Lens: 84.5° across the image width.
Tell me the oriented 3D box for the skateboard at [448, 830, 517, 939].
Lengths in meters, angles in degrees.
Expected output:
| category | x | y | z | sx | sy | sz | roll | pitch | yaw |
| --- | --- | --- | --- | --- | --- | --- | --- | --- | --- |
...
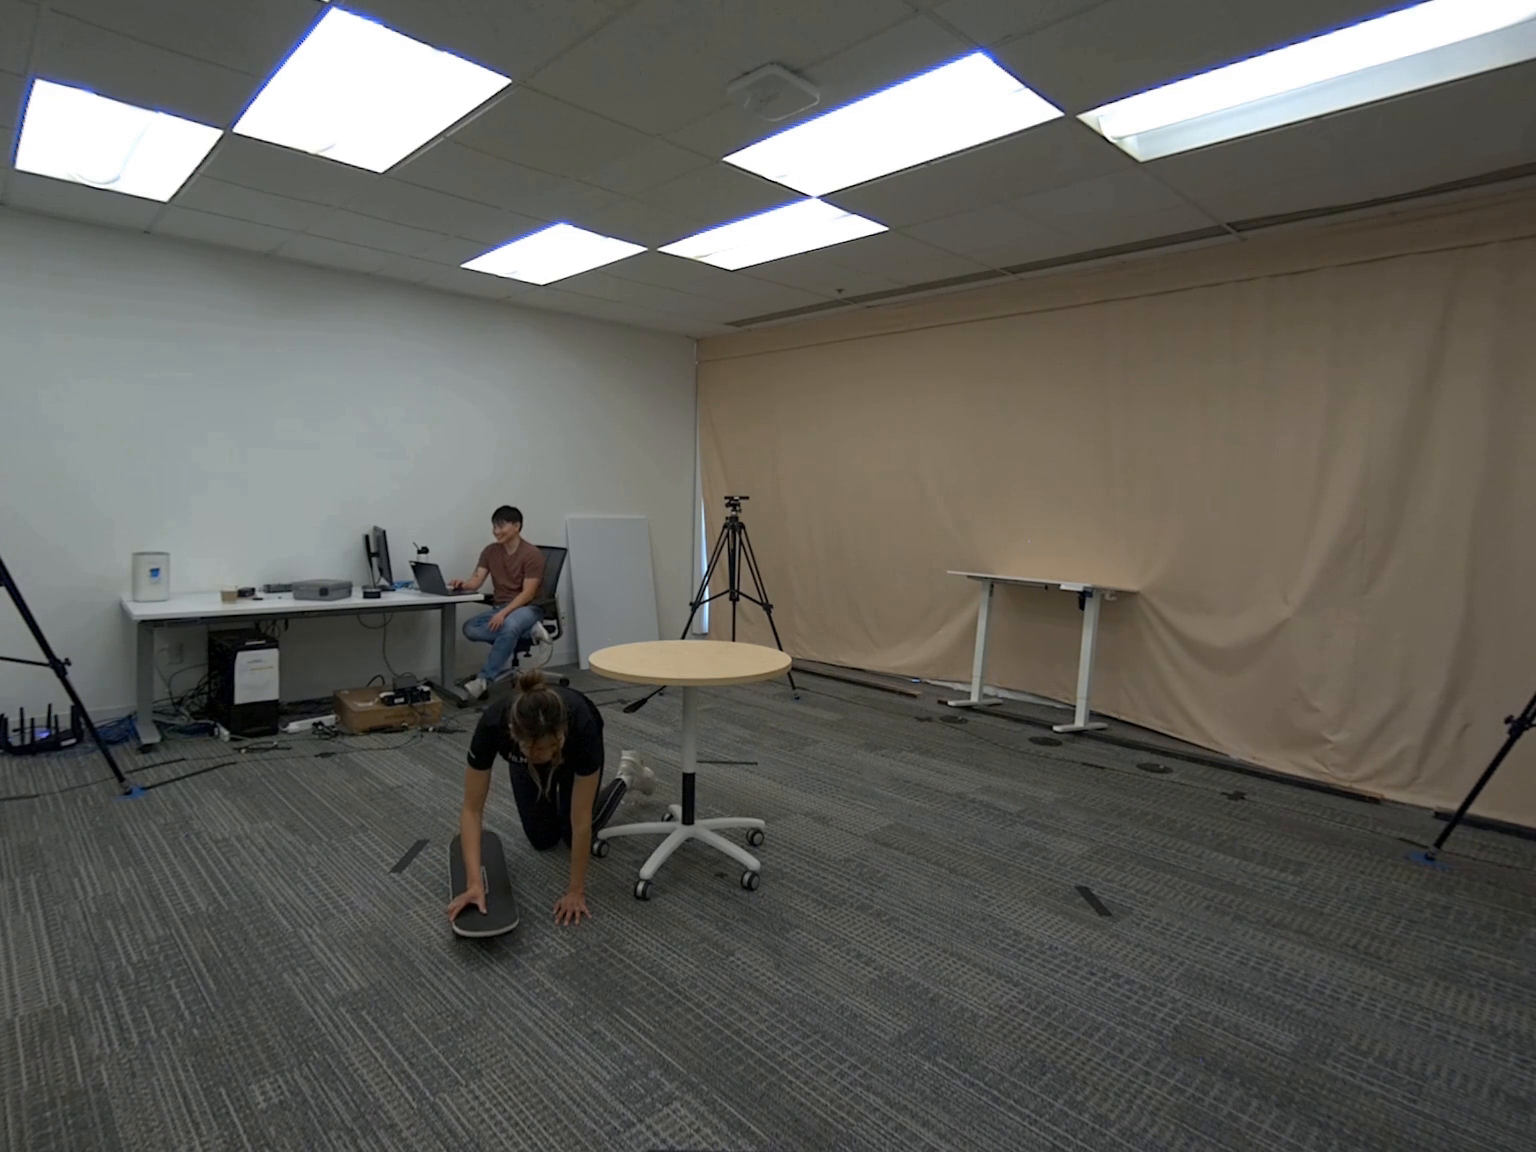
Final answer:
| category | x | y | z | sx | sy | sz | roll | pitch | yaw |
| --- | --- | --- | --- | --- | --- | --- | --- | --- | --- |
| skateboard | -0.990 | 1.059 | 2.831 | 0.190 | 0.110 | 0.799 | 1 | 6 | -20 |
